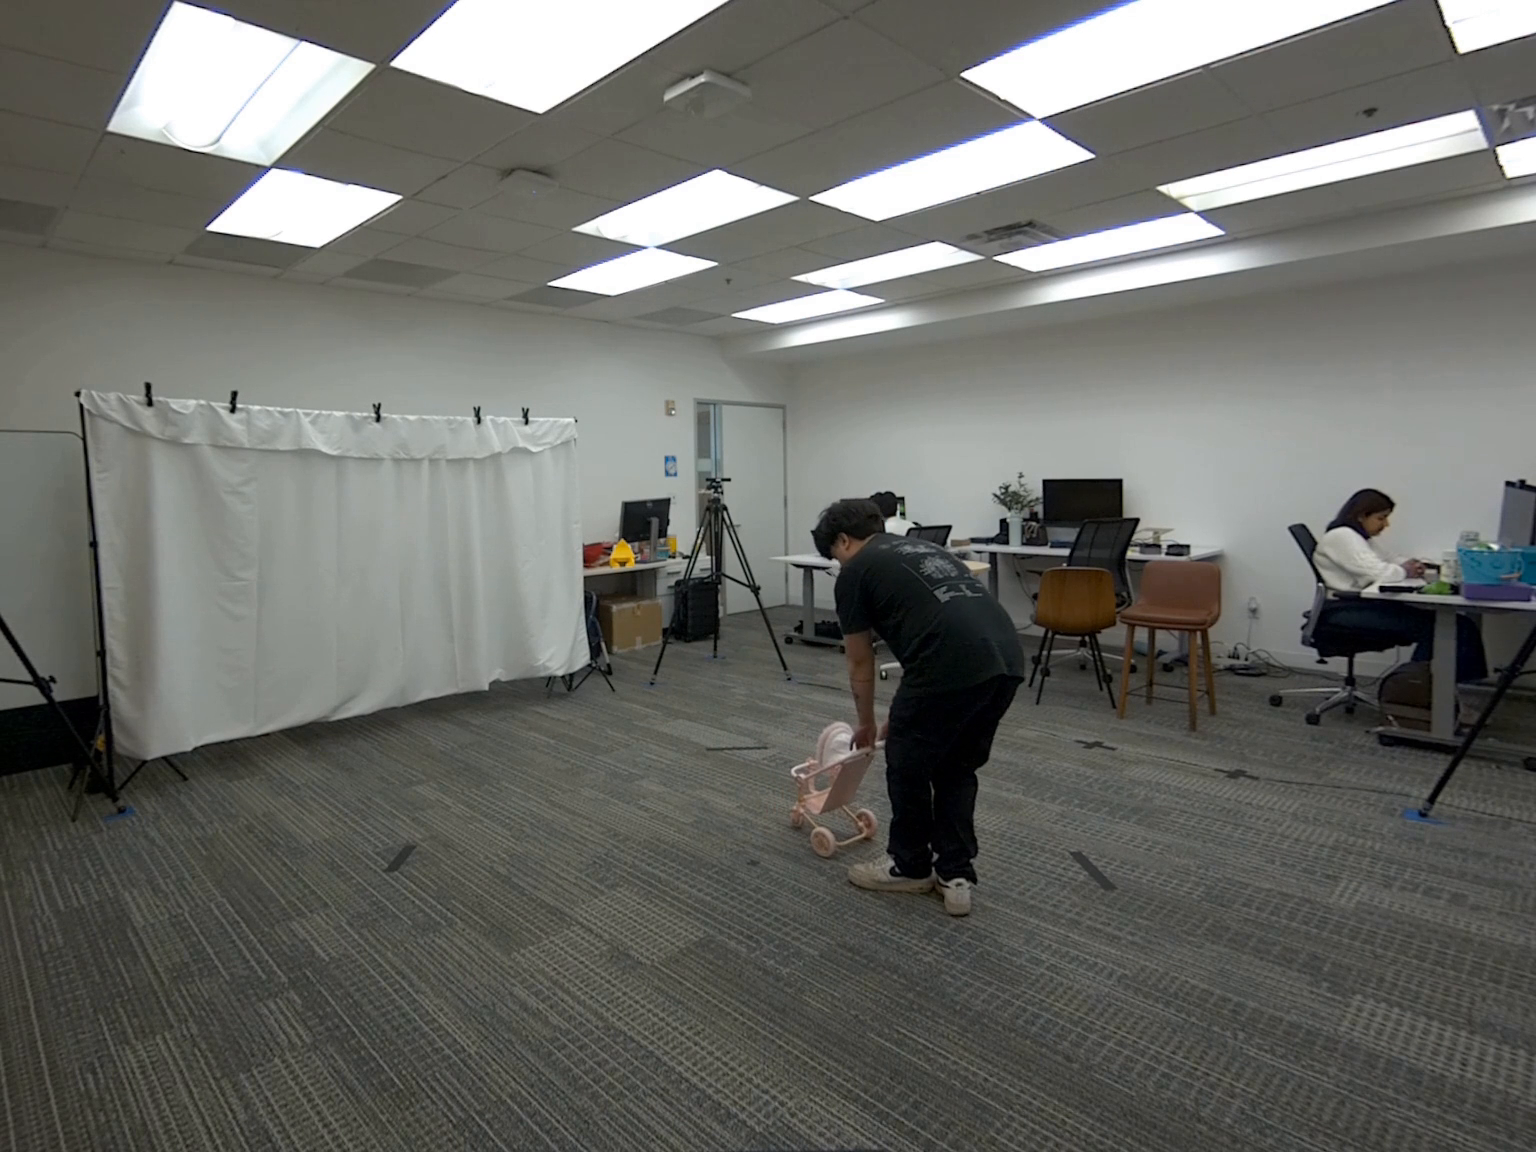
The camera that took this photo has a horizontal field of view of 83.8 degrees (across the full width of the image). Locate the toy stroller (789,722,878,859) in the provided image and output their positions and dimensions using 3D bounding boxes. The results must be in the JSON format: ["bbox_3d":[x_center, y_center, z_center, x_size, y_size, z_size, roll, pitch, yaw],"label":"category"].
[{"bbox_3d":[0.250,0.793,3.264,0.274,0.529,0.354,-4,21,-40],"label":"toy stroller"}]
